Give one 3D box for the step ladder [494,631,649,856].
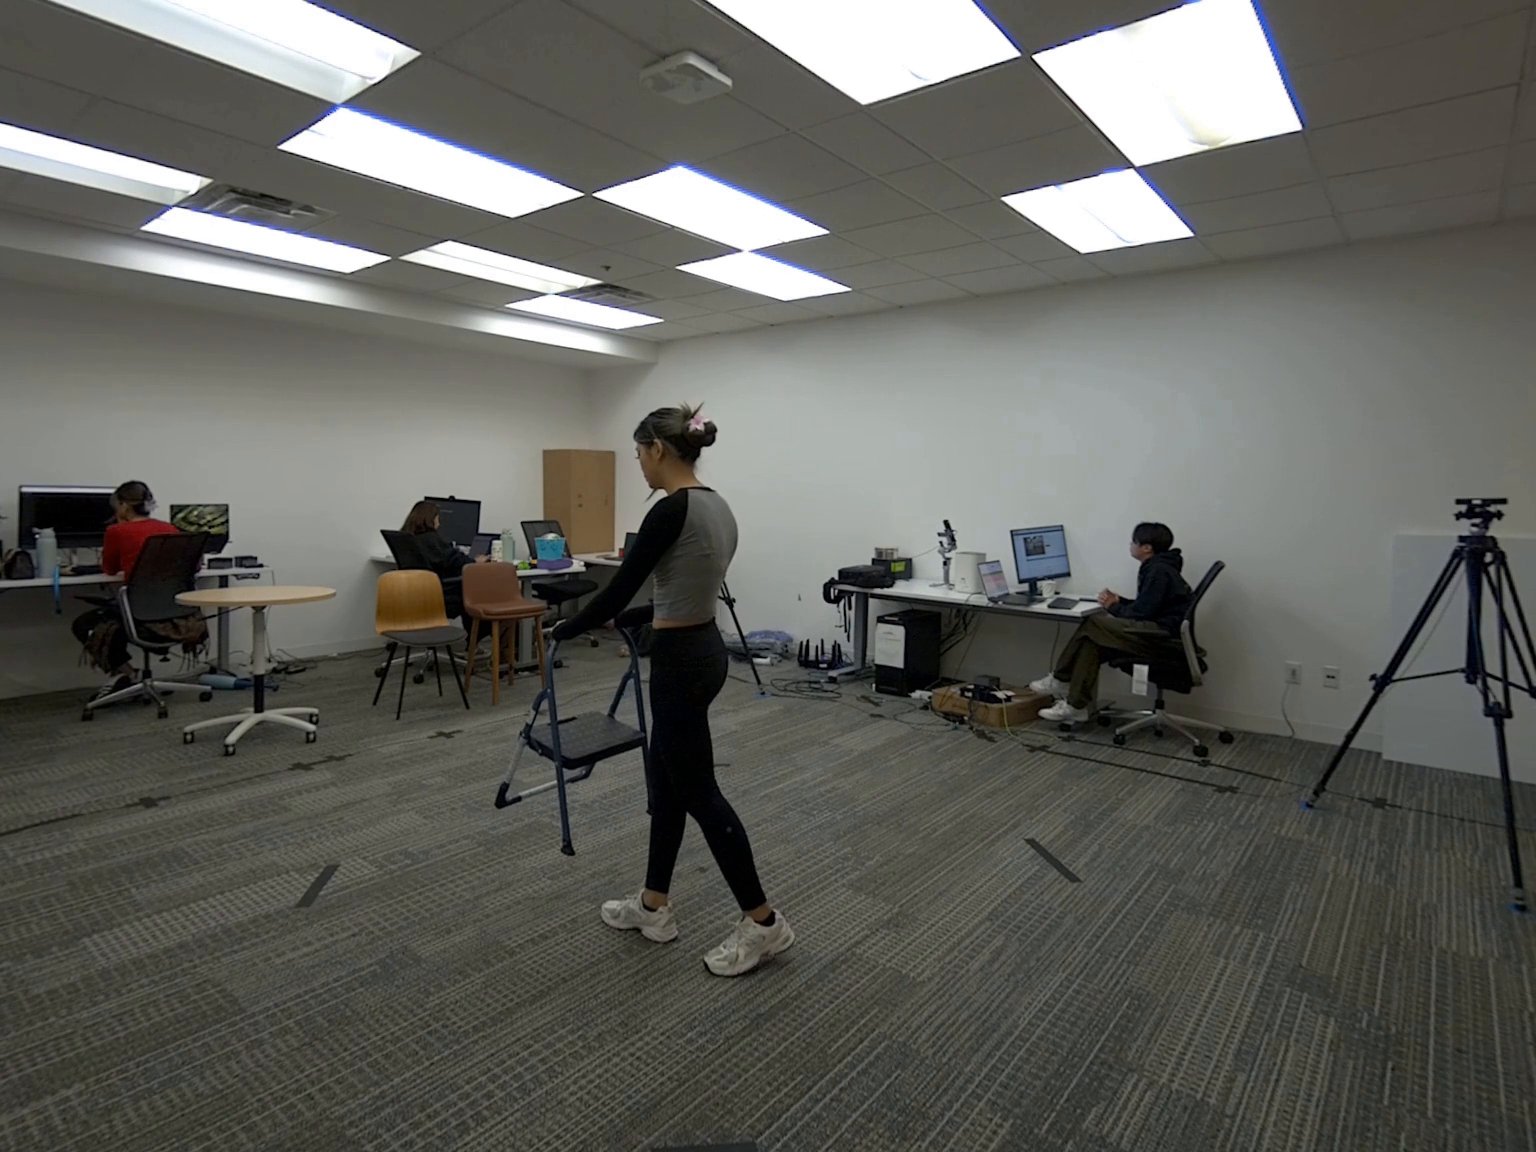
[{"bbox_3d":[-0.569,0.463,2.703,0.361,0.603,0.418,15,8,31],"label":"step ladder"}]
